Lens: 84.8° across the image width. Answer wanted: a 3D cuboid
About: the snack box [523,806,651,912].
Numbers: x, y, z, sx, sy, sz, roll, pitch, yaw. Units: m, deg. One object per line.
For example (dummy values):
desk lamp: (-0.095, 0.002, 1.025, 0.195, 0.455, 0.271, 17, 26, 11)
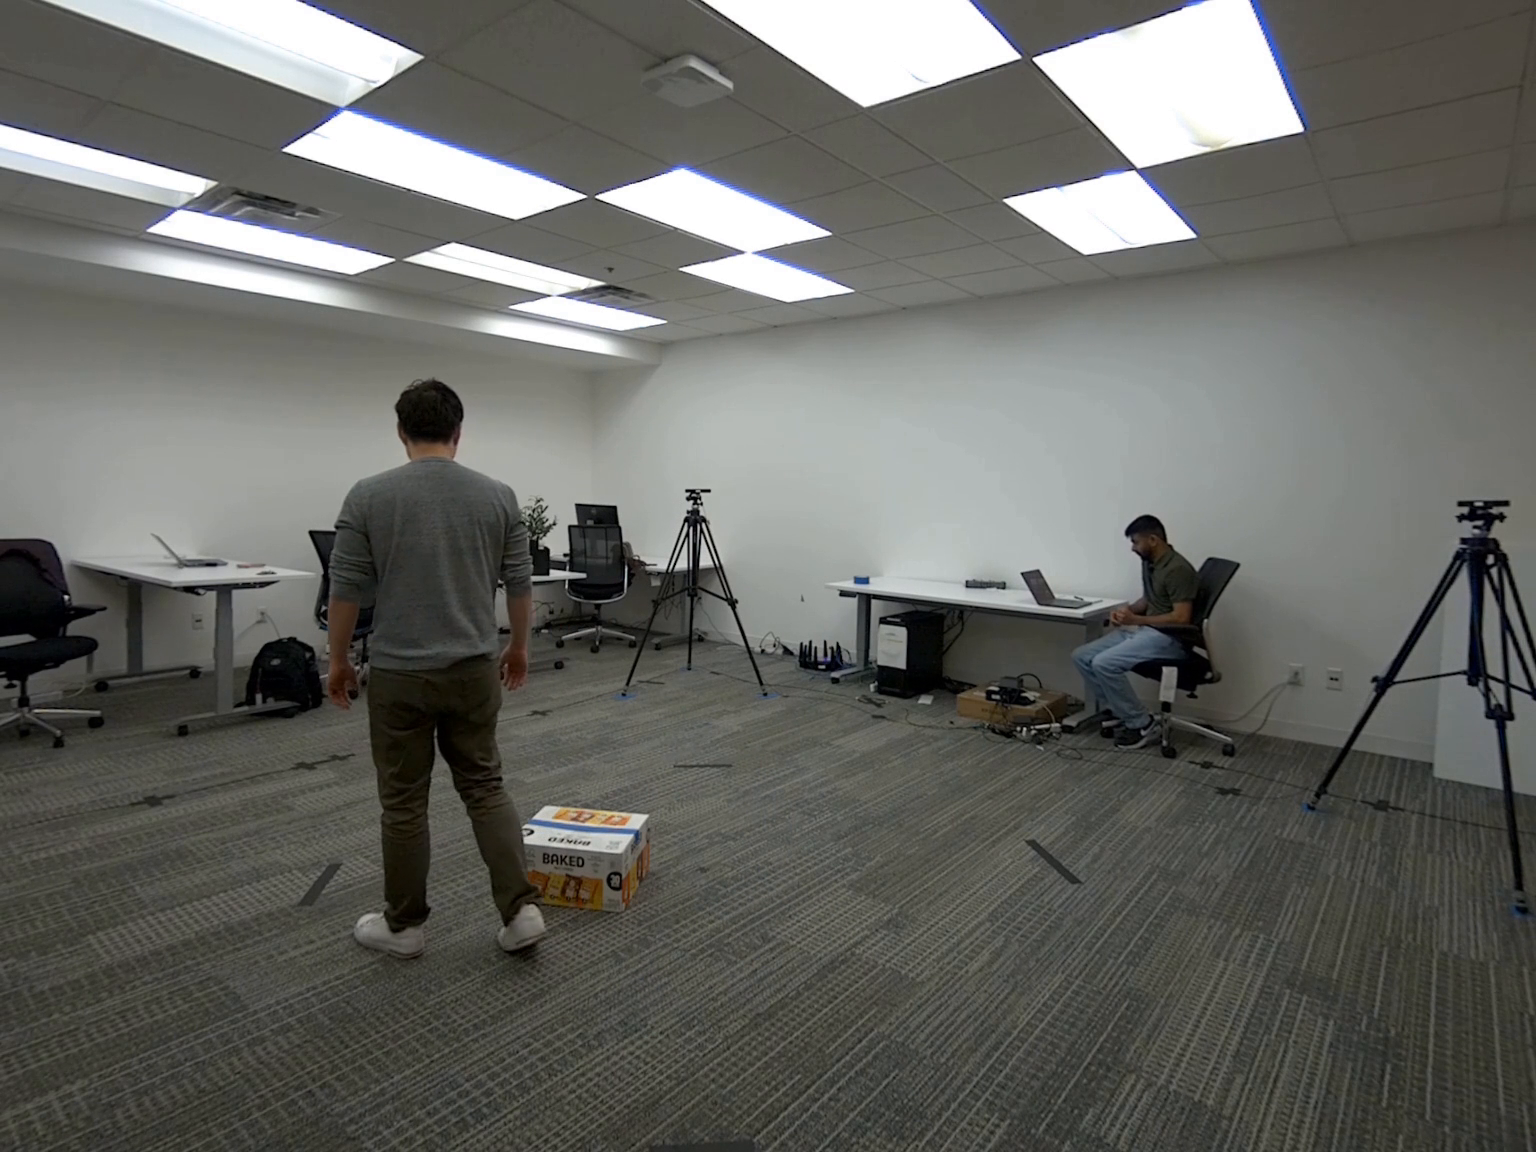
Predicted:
snack box: (-0.664, 0.982, 2.963, 0.410, 0.205, 0.338, 2, 5, 9)
